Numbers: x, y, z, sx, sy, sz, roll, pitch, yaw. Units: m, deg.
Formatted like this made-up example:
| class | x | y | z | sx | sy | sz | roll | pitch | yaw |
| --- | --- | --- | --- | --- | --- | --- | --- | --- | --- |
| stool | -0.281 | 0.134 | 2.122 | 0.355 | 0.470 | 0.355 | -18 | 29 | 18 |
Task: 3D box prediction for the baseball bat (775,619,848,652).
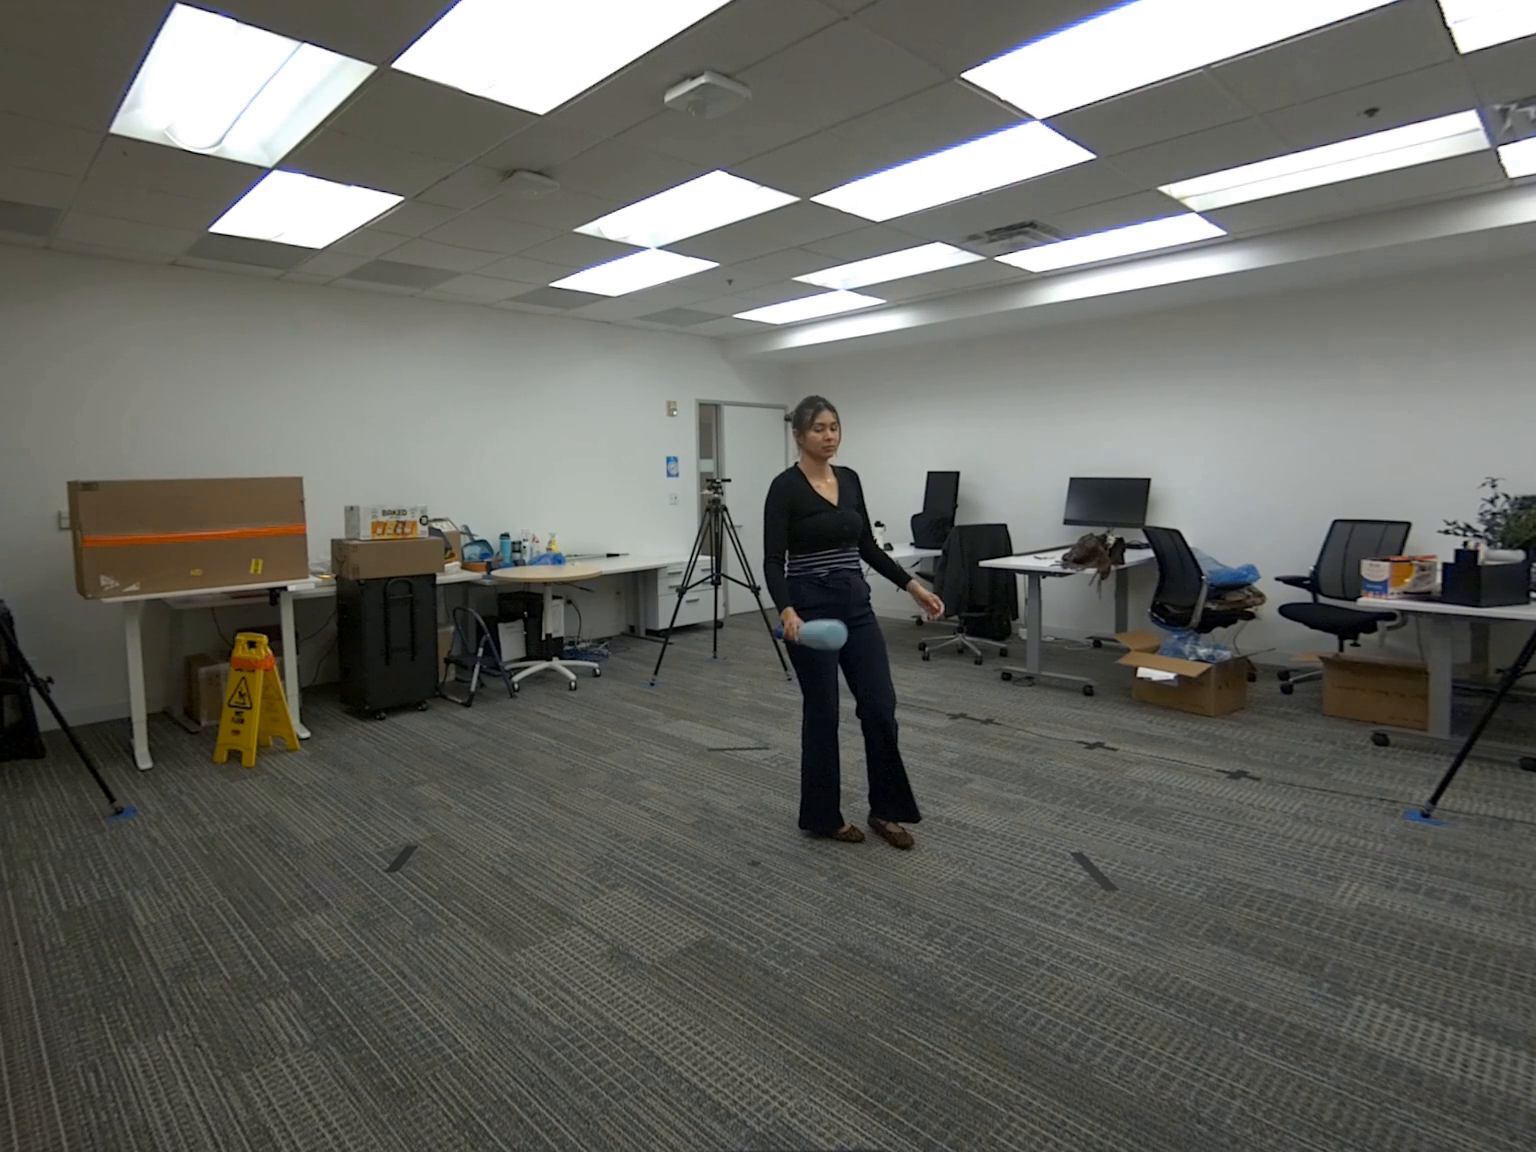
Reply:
| class | x | y | z | sx | sy | sz | roll | pitch | yaw |
| --- | --- | --- | --- | --- | --- | --- | --- | --- | --- |
| baseball bat | 0.137 | 0.166 | 2.839 | 0.088 | 0.089 | 0.547 | -2 | -2 | -13 |
